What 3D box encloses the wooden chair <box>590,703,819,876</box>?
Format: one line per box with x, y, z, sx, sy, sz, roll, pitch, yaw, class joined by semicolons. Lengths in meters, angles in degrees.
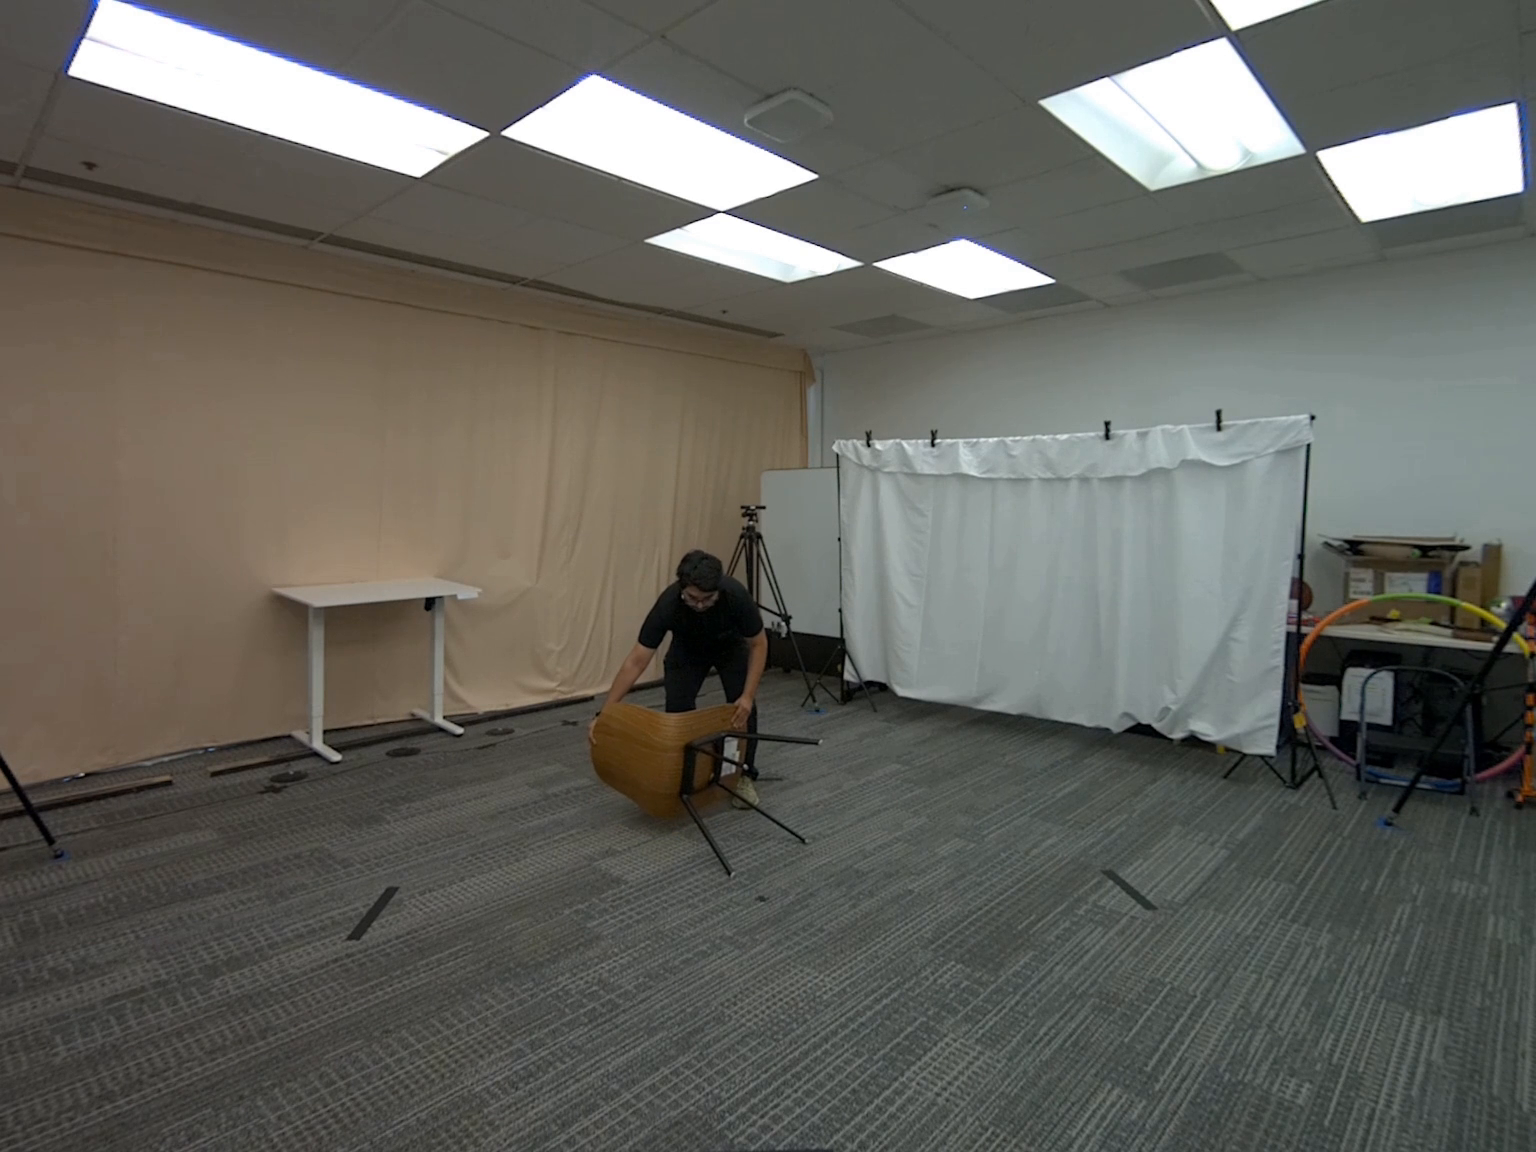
-0.269;0.801;3.576;0.908;0.475;0.508;14;13;38;wooden chair
